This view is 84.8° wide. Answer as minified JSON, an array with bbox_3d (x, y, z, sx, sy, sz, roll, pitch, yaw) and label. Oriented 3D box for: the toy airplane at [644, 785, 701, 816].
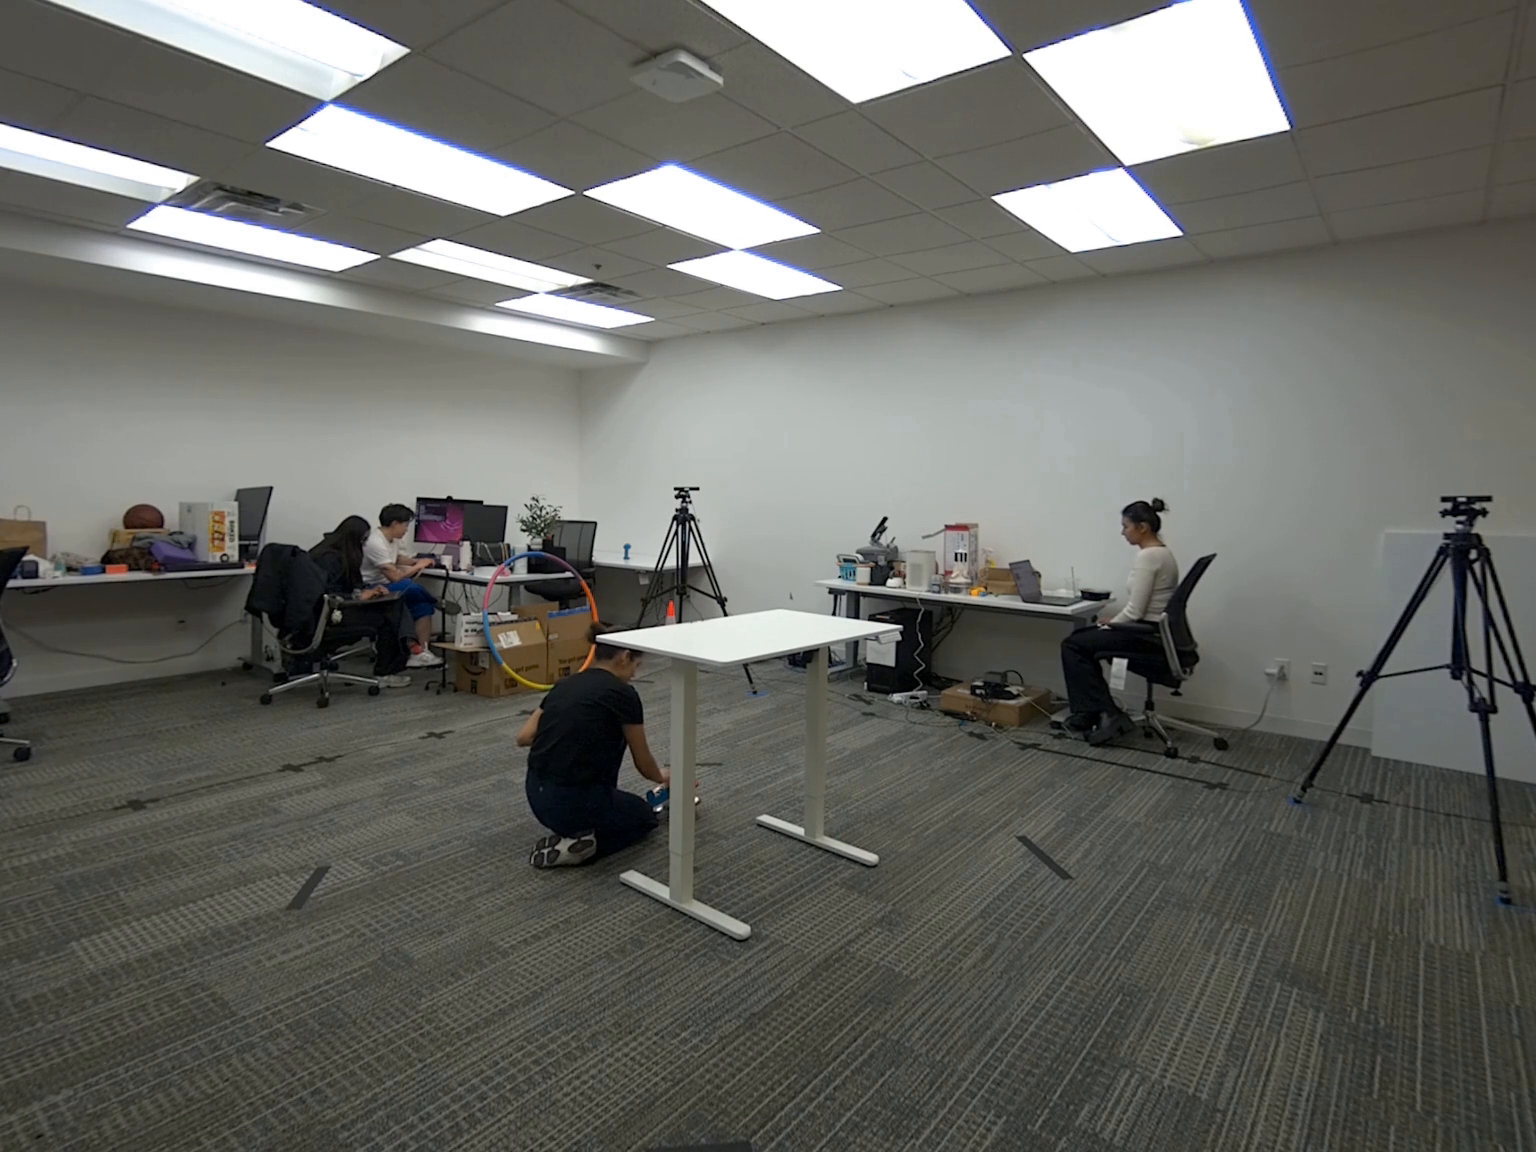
[{"bbox_3d":[-0.379,0.932,3.640,0.255,0.156,0.256,3,4,12],"label":"toy airplane"}]
